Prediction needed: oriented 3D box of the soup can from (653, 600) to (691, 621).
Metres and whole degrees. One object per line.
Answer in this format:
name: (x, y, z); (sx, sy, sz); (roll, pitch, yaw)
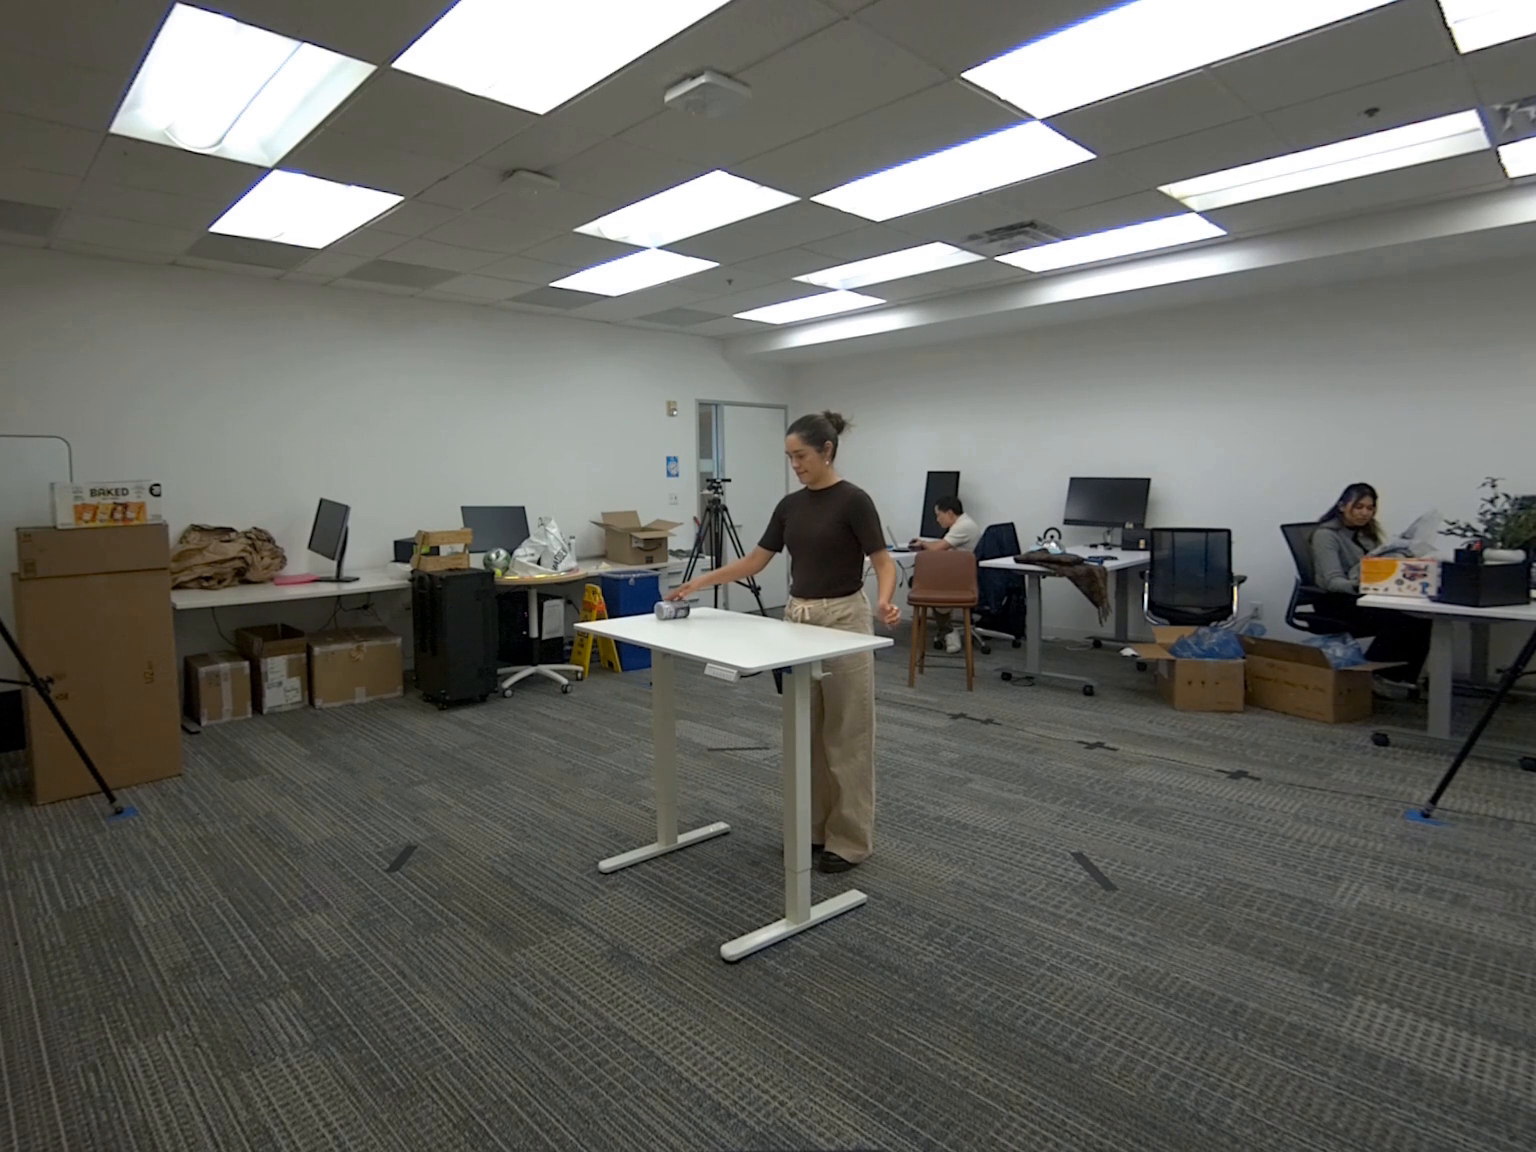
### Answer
soup can: (-0.361, 0.125, 3.182); (0.120, 0.067, 0.068); (-1, 5, -12)
